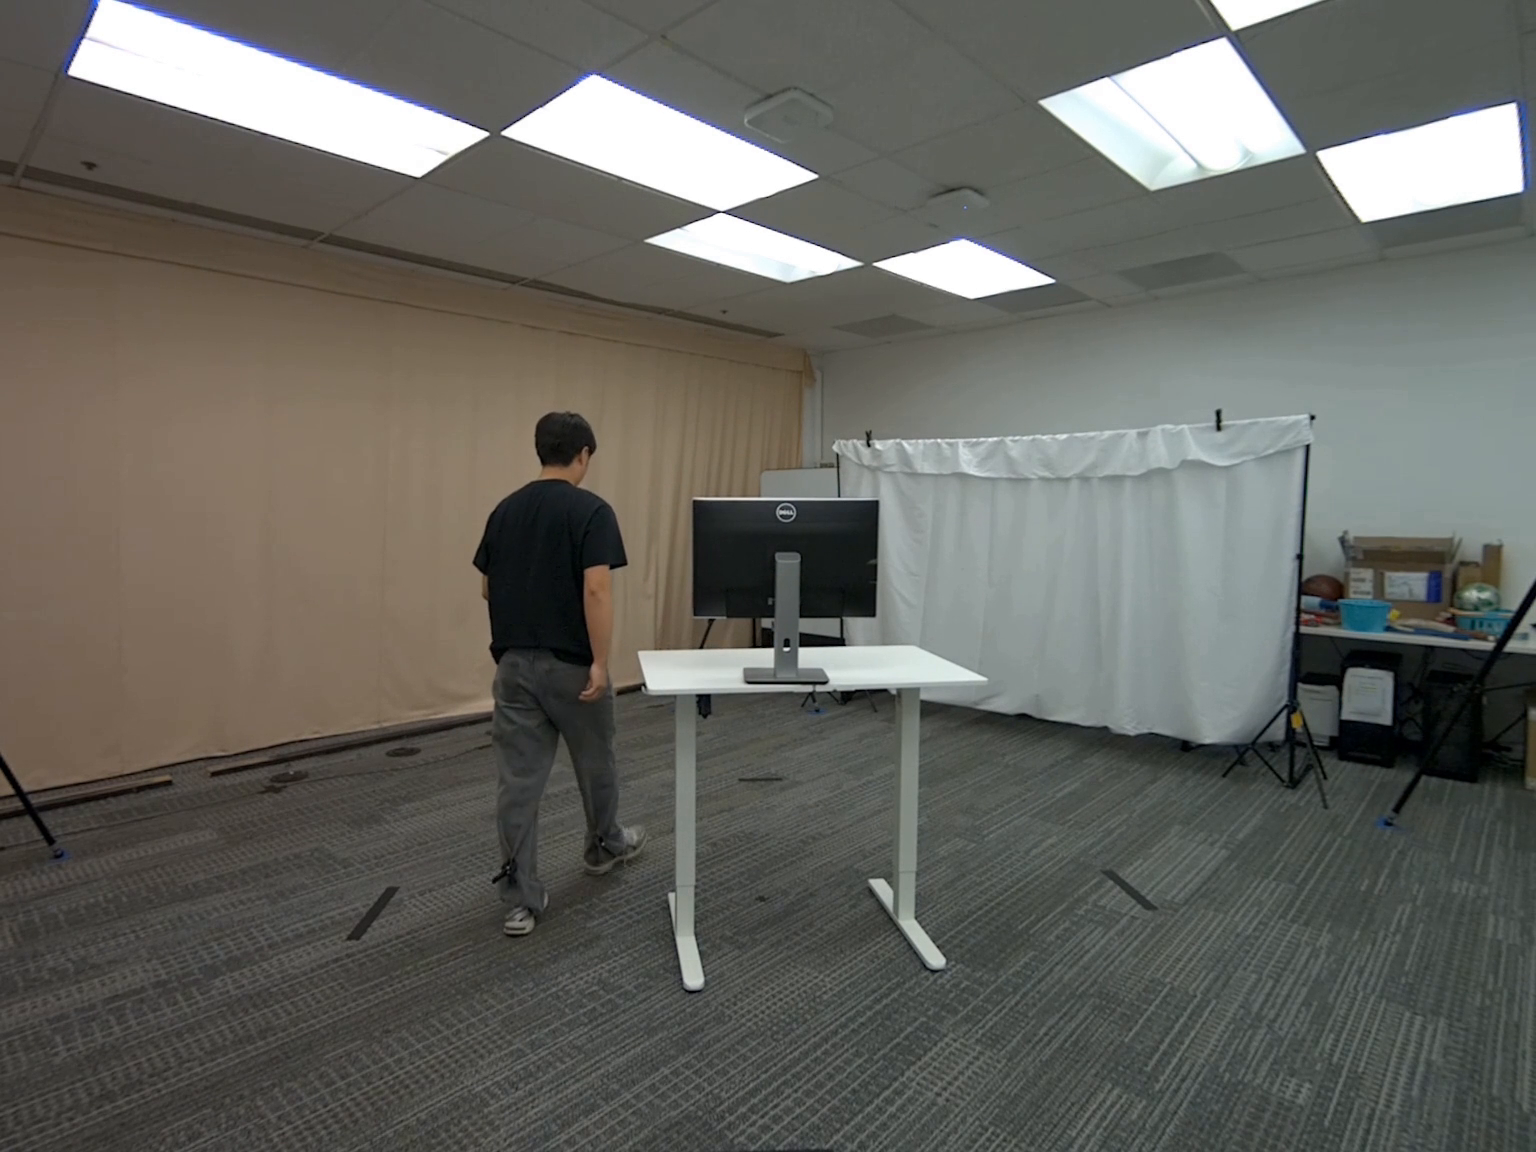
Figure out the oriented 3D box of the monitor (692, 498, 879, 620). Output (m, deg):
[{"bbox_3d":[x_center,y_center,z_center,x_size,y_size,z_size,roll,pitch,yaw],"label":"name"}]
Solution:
[{"bbox_3d":[0.051,0.048,2.480,0.563,0.567,0.221,0,-5,2],"label":"monitor"}]
